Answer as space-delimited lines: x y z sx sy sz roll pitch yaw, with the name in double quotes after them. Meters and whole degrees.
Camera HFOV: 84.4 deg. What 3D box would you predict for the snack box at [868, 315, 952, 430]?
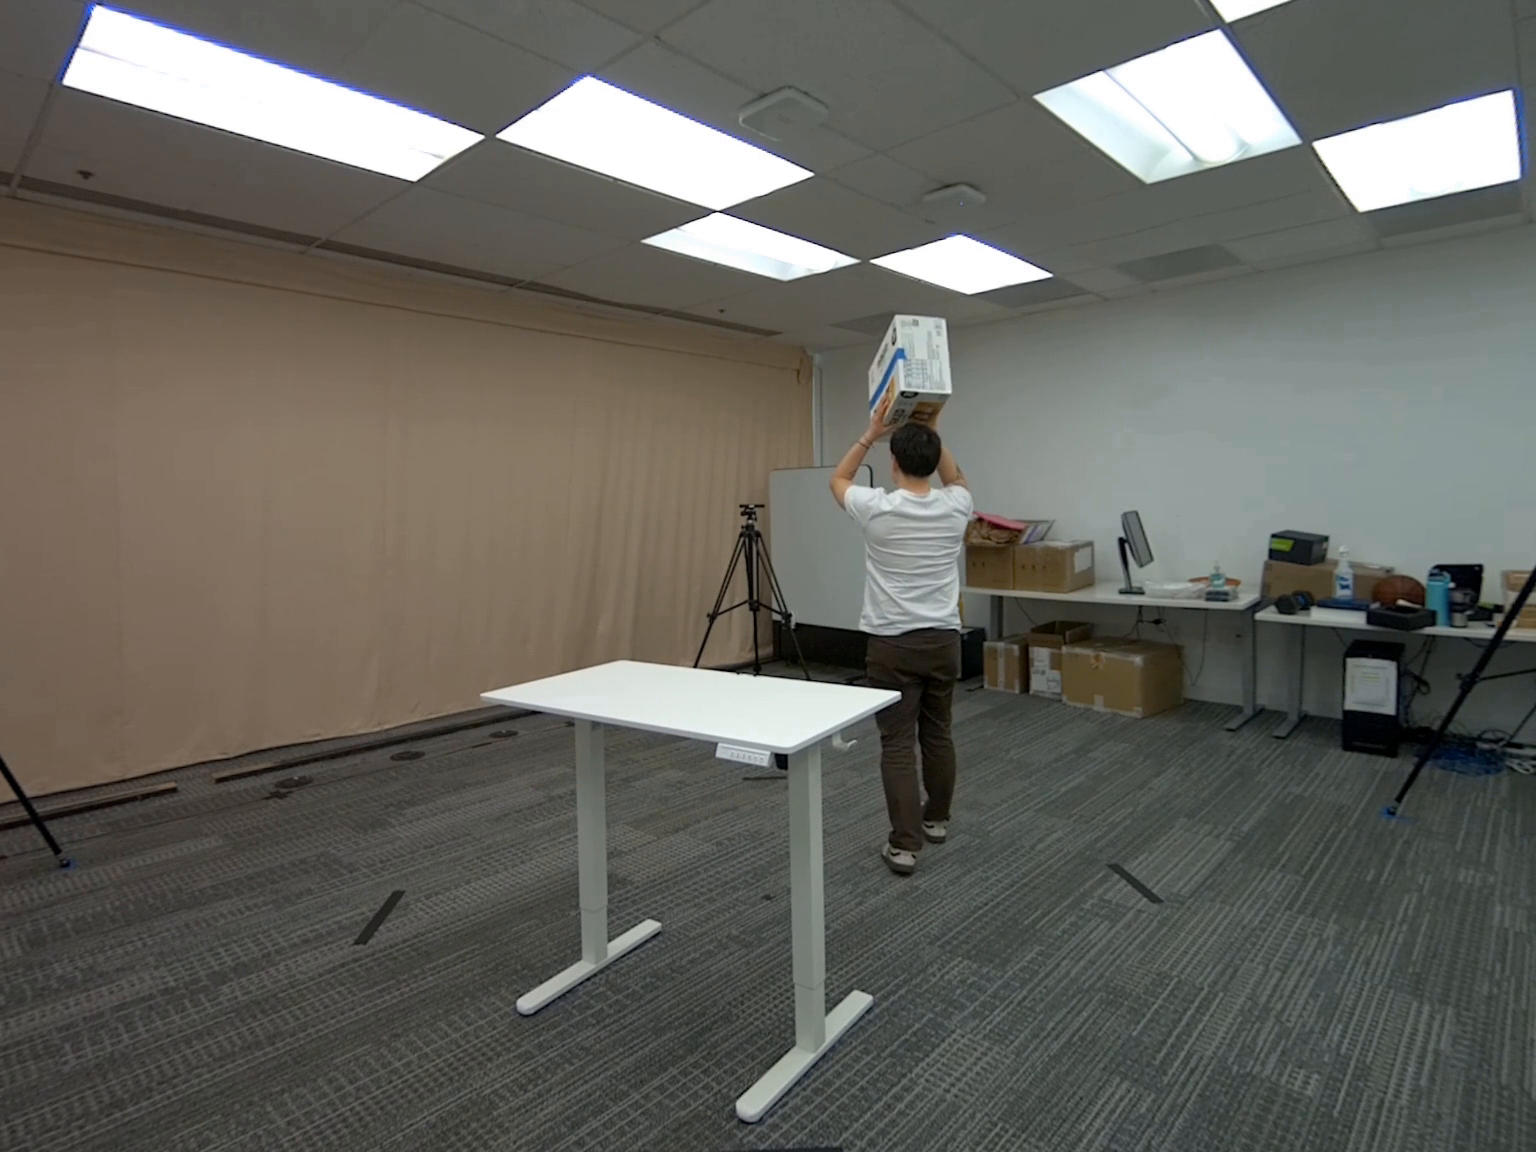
0.564 -0.778 3.386 0.204 0.344 0.403 4 -21 -7 "snack box"
